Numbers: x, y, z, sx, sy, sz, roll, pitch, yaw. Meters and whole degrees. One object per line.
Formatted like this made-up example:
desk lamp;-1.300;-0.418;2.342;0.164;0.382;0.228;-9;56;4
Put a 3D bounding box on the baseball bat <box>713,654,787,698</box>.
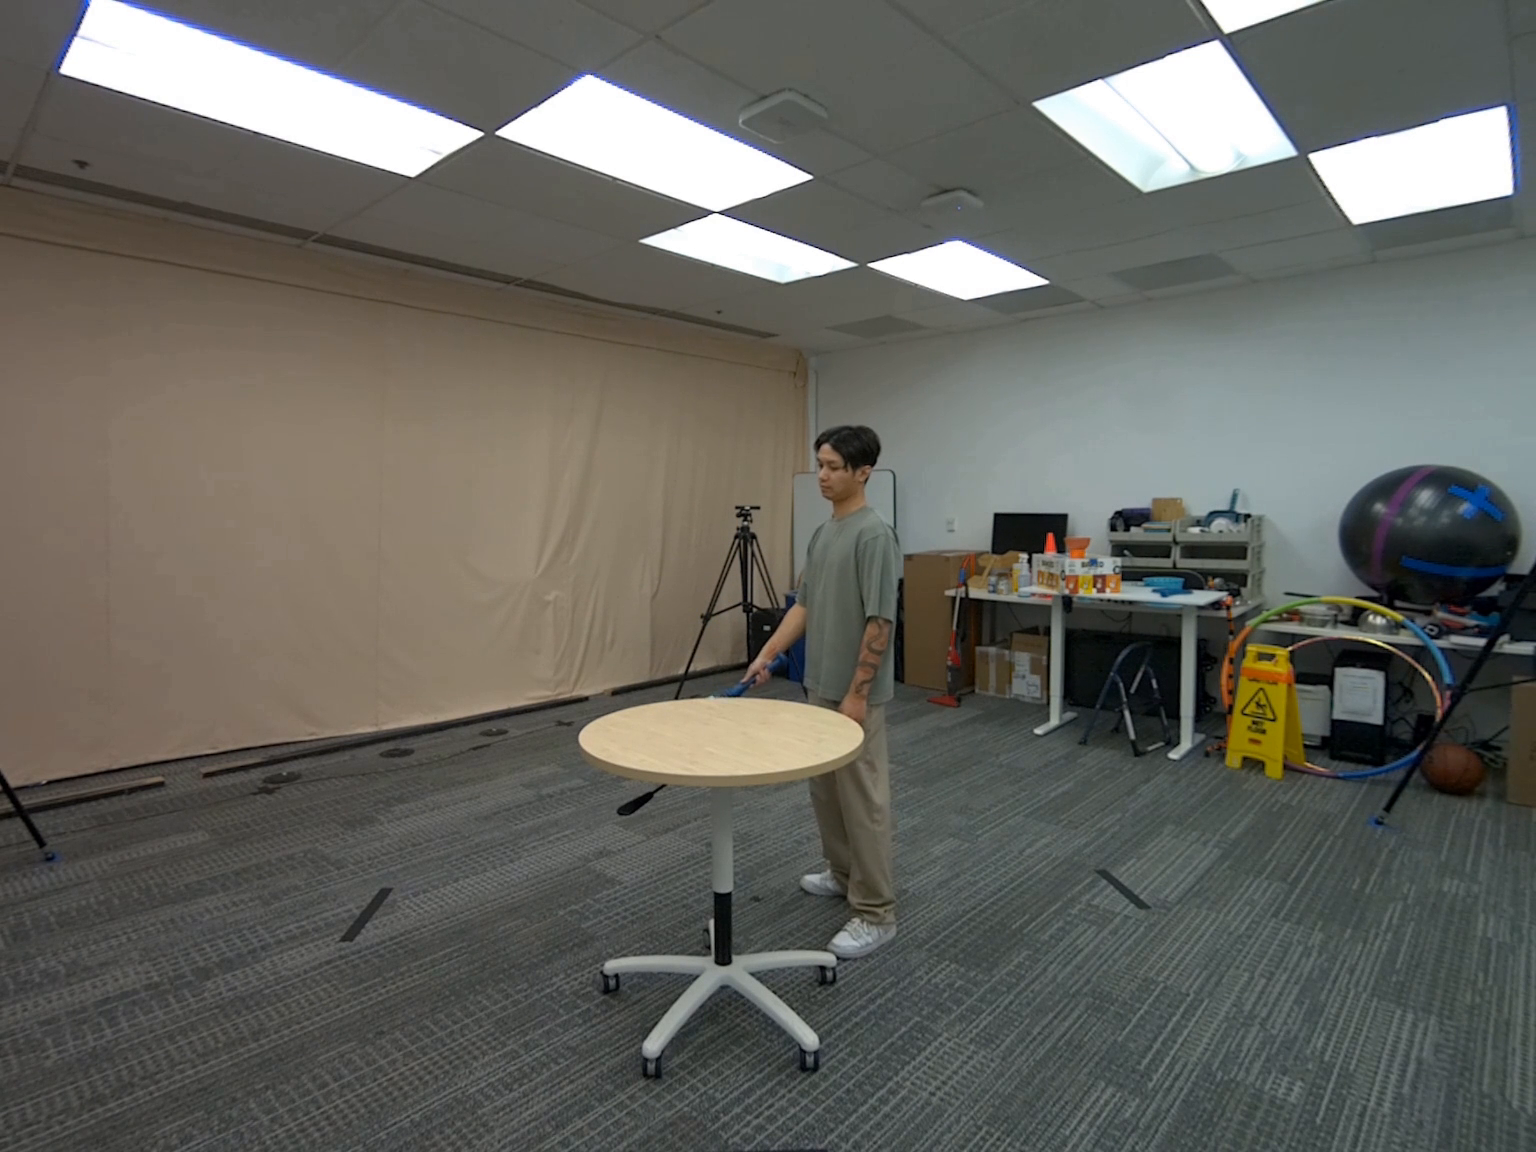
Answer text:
baseball bat;-0.160;0.438;2.952;0.542;0.088;0.089;-32;6;-1
